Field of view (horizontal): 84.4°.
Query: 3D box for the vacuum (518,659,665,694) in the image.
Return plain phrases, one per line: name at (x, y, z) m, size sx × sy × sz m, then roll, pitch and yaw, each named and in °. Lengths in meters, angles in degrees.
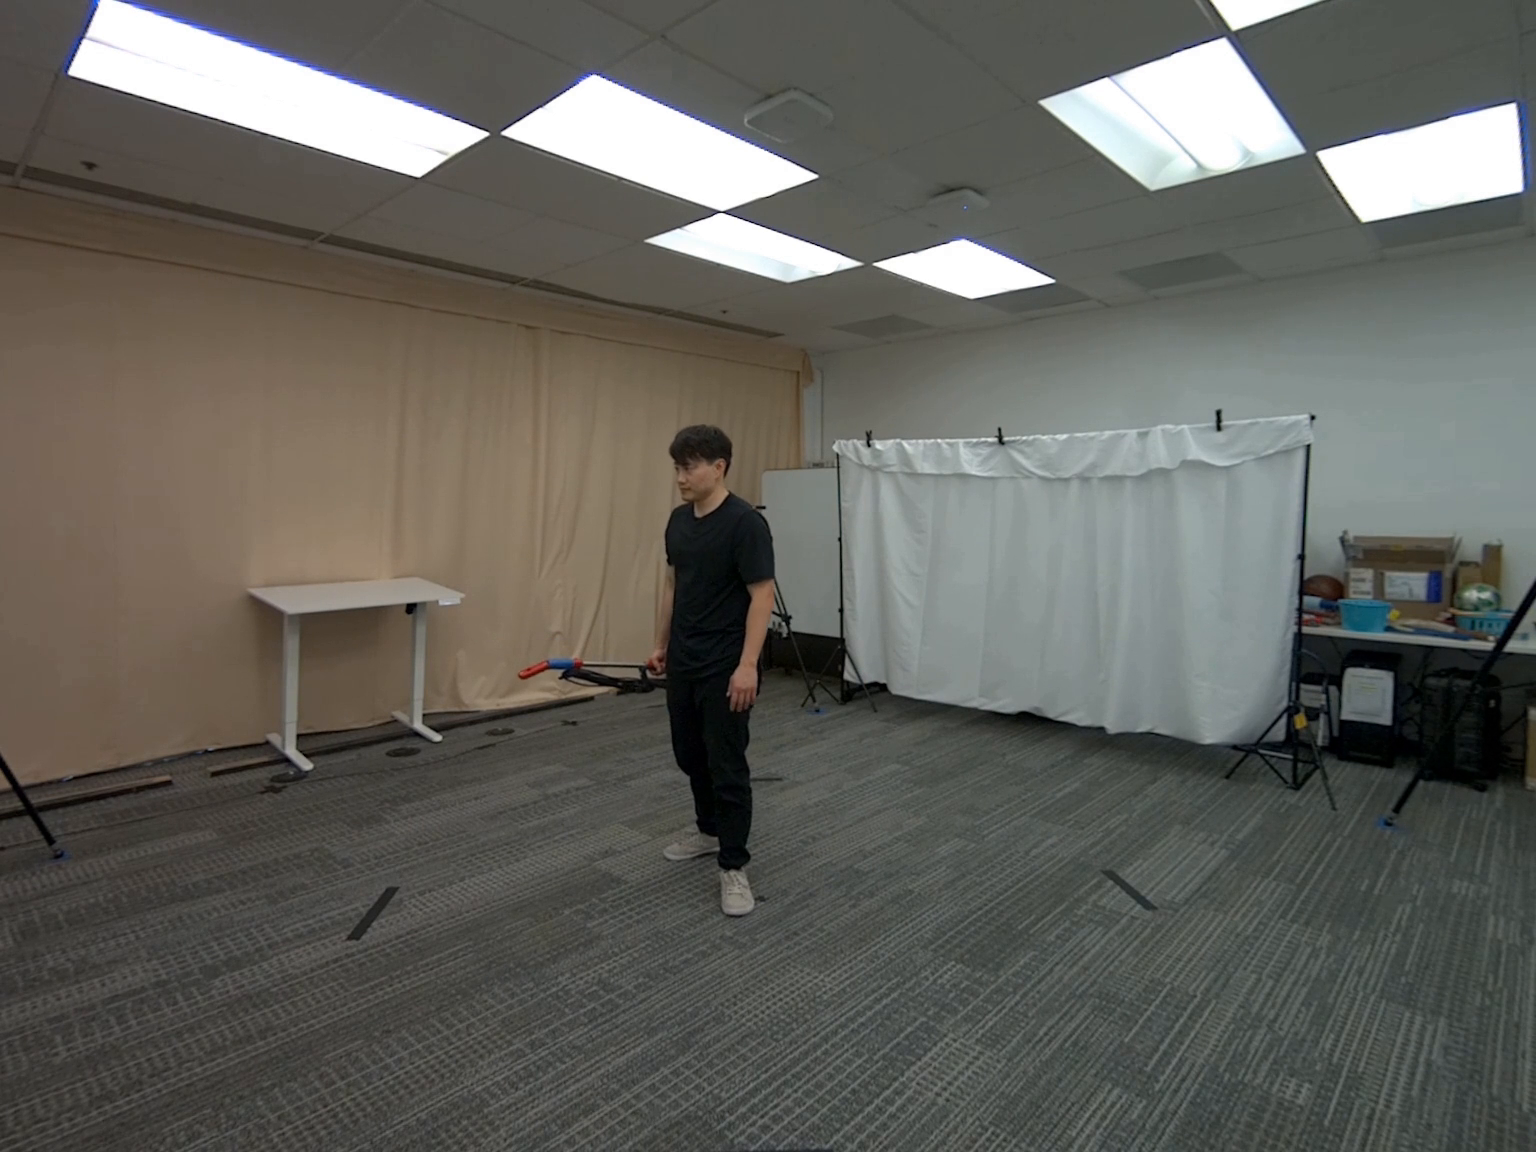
vacuum at (-0.488, 0.386, 3.223) m, size 1.013 × 0.143 × 0.262 m, roll 8°, pitch 19°, yaw -47°
